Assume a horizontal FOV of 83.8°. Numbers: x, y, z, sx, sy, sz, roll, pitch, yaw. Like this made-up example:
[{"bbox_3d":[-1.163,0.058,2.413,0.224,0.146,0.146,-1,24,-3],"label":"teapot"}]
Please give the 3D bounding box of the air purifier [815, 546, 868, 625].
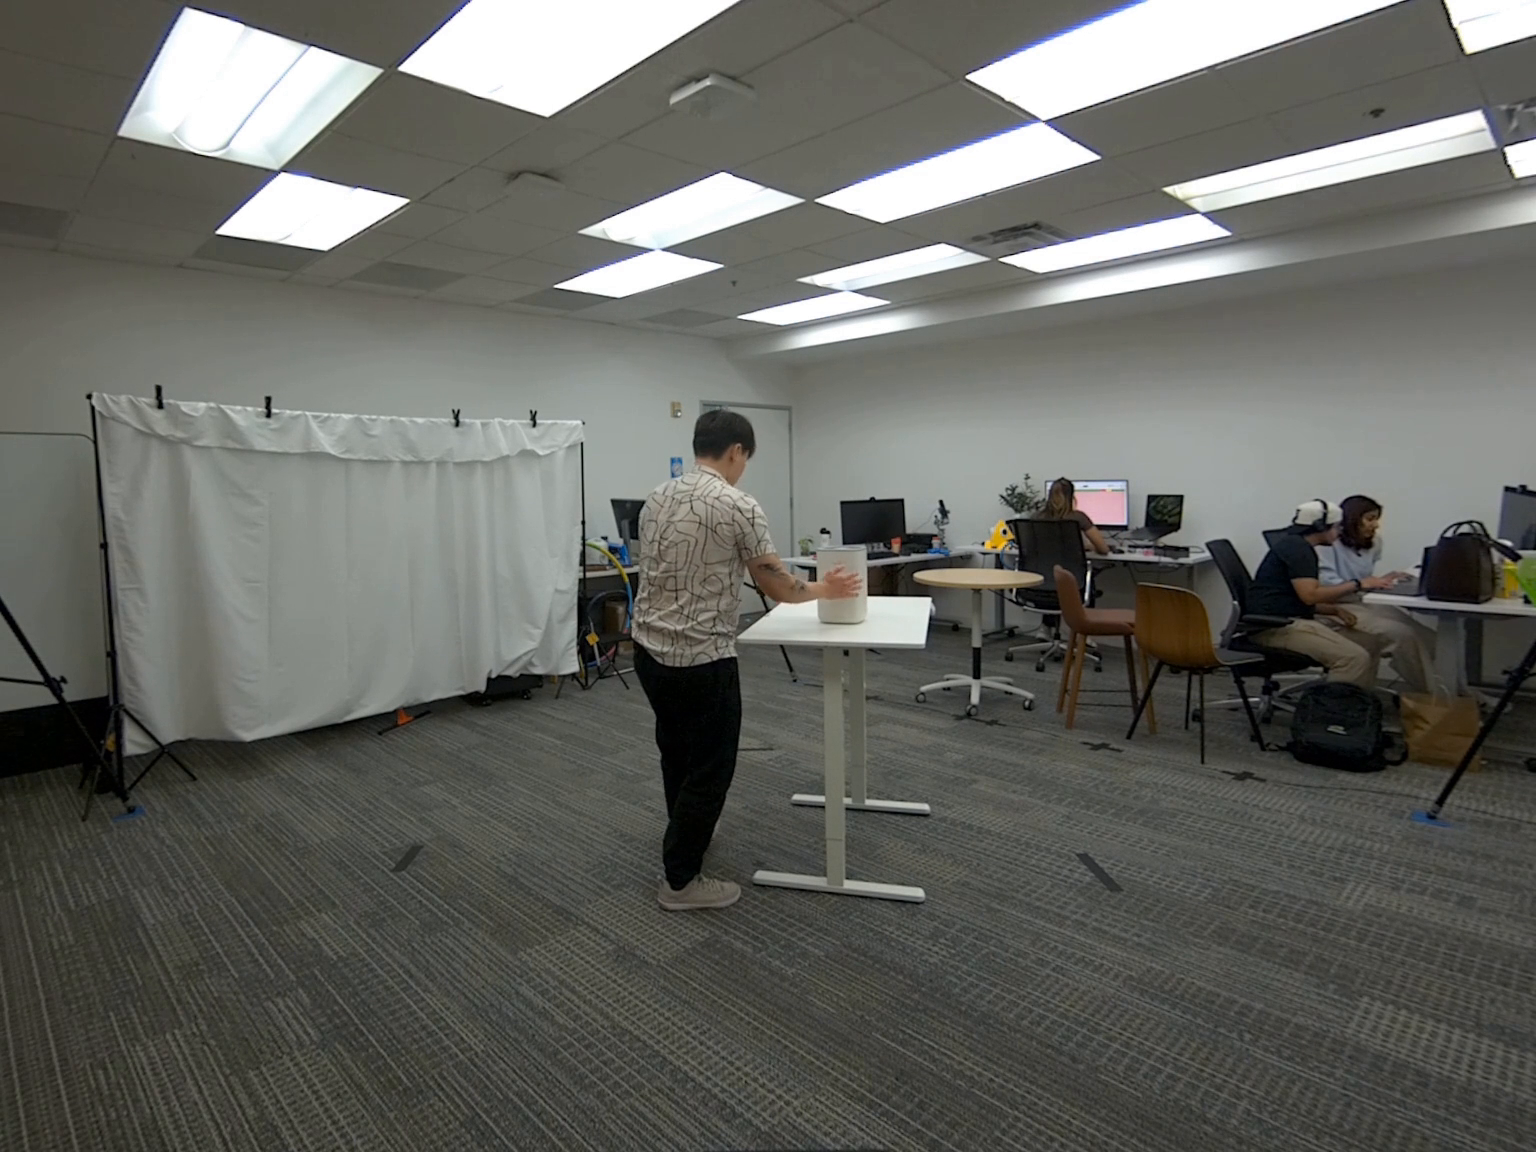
[{"bbox_3d":[0.279,0.030,3.084,0.173,0.264,0.170,-1,5,11],"label":"air purifier"}]
